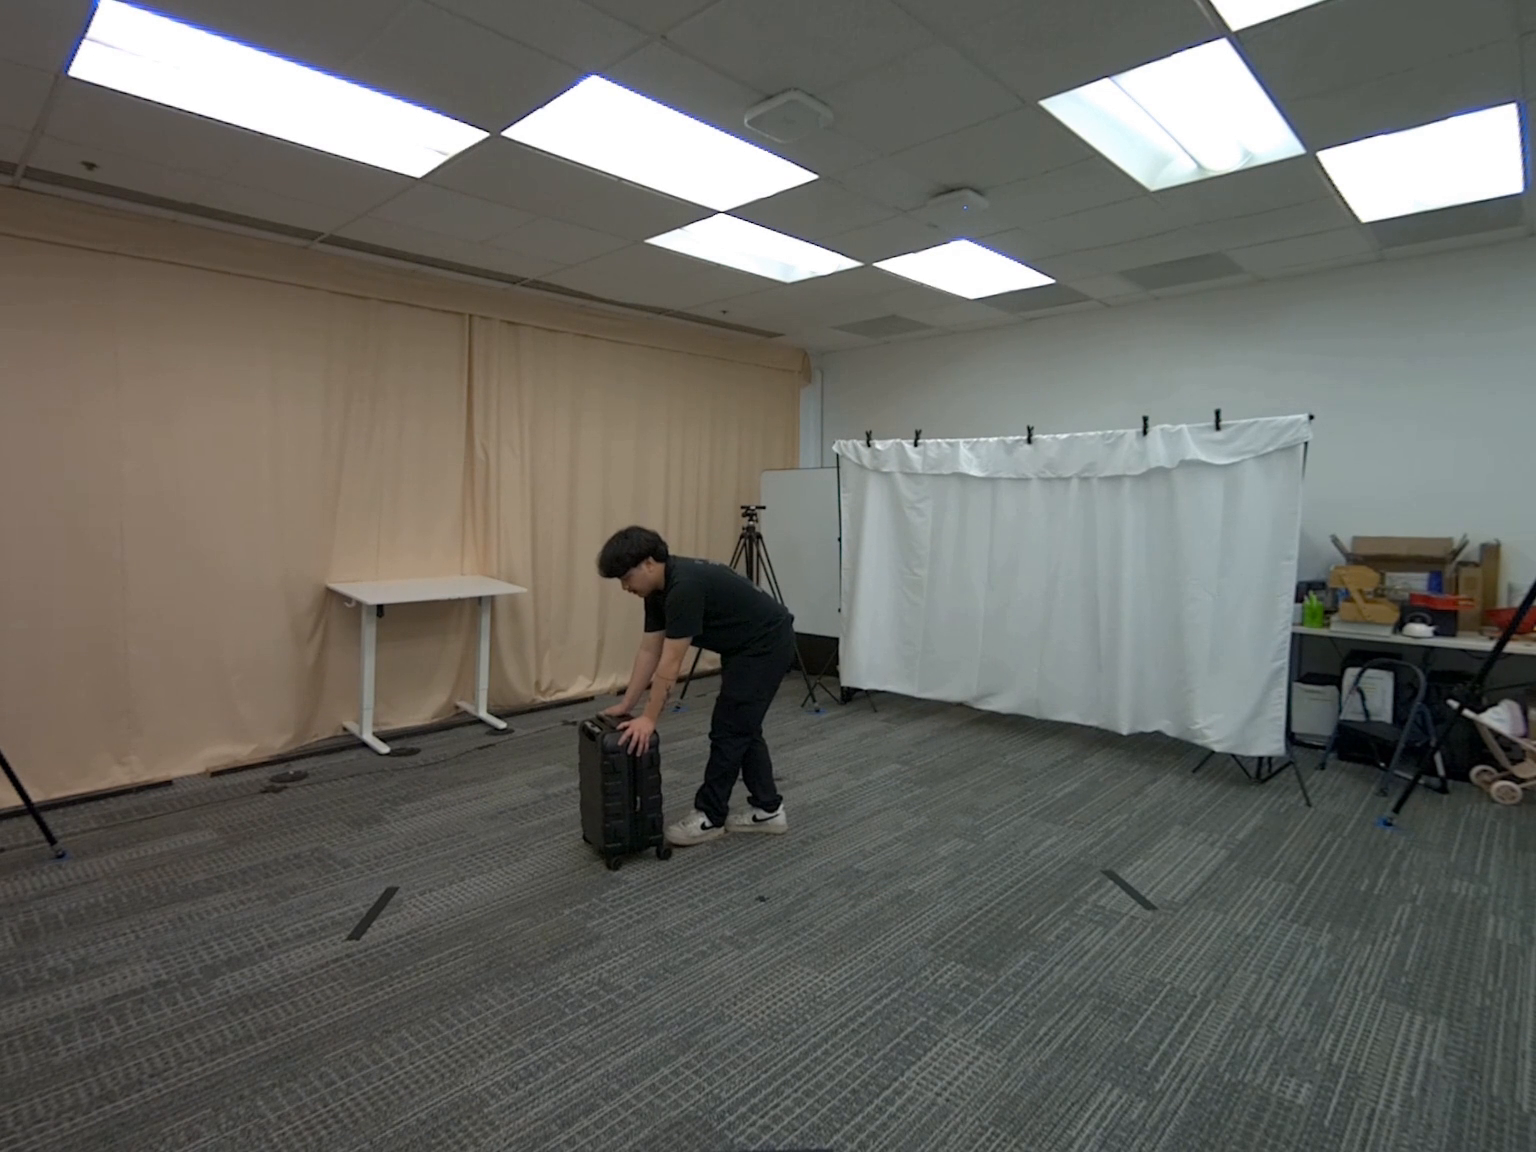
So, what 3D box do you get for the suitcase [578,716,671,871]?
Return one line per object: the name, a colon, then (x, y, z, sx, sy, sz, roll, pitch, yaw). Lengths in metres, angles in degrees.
suitcase: (-0.600, 0.840, 3.389, 0.242, 0.548, 0.386, -3, 6, -30)
